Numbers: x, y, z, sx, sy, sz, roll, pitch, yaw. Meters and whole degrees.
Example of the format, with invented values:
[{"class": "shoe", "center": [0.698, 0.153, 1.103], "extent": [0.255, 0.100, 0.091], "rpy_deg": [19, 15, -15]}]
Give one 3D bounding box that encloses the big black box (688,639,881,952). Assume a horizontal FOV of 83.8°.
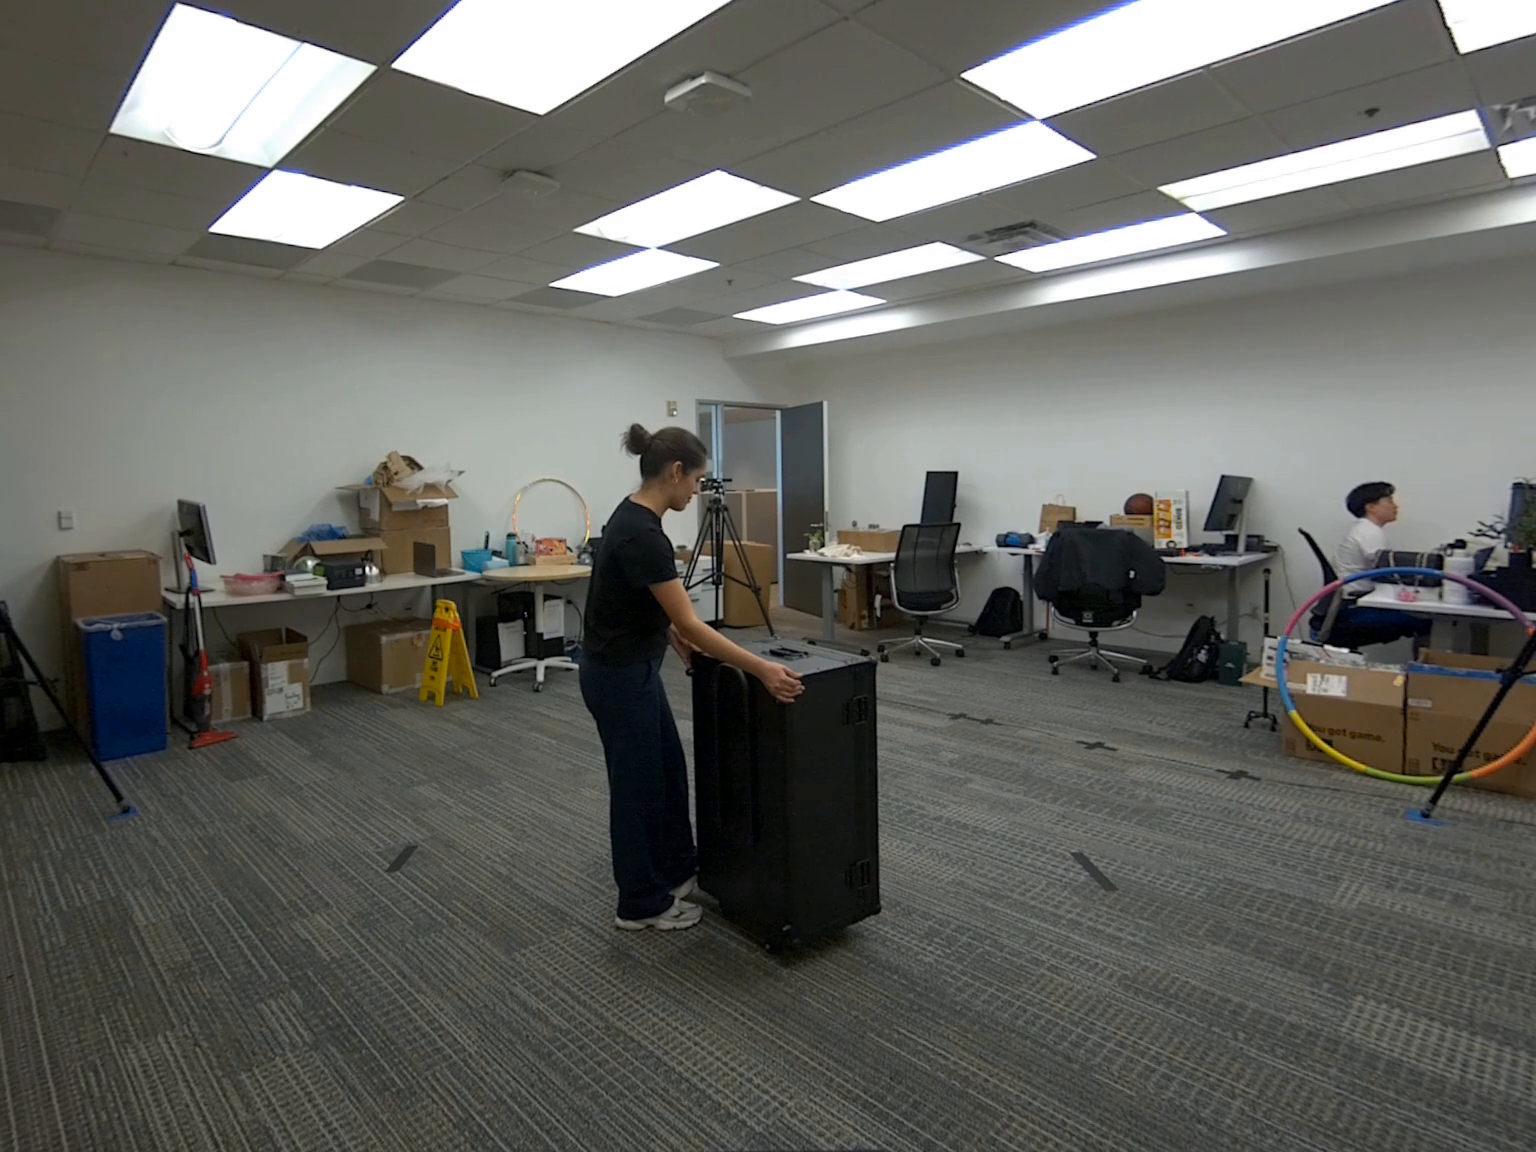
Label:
[{"class": "big black box", "center": [0.049, 0.665, 2.664], "extent": [0.386, 0.858, 0.537], "rpy_deg": [-5, 6, -36]}]
